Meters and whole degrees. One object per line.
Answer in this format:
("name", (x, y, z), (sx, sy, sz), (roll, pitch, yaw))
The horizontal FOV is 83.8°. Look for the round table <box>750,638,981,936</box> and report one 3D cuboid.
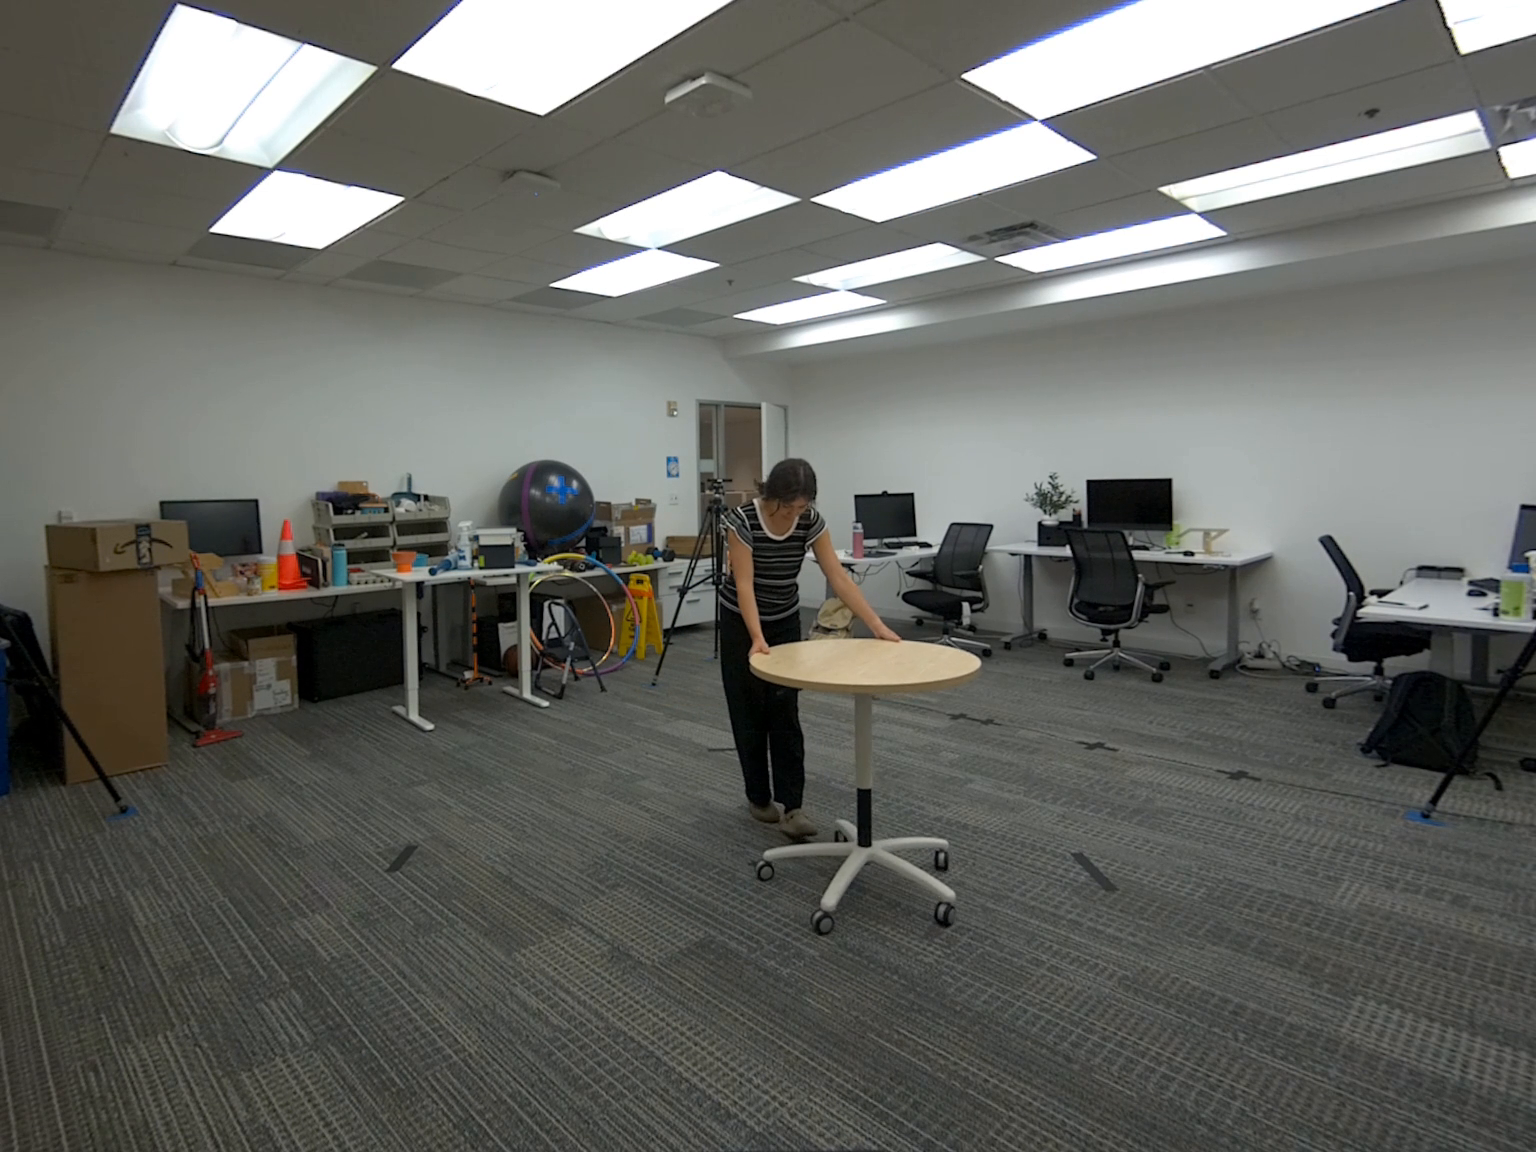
("round table", (0.324, 0.673, 2.899), (0.763, 0.791, 0.768), (-1, 4, -2))
